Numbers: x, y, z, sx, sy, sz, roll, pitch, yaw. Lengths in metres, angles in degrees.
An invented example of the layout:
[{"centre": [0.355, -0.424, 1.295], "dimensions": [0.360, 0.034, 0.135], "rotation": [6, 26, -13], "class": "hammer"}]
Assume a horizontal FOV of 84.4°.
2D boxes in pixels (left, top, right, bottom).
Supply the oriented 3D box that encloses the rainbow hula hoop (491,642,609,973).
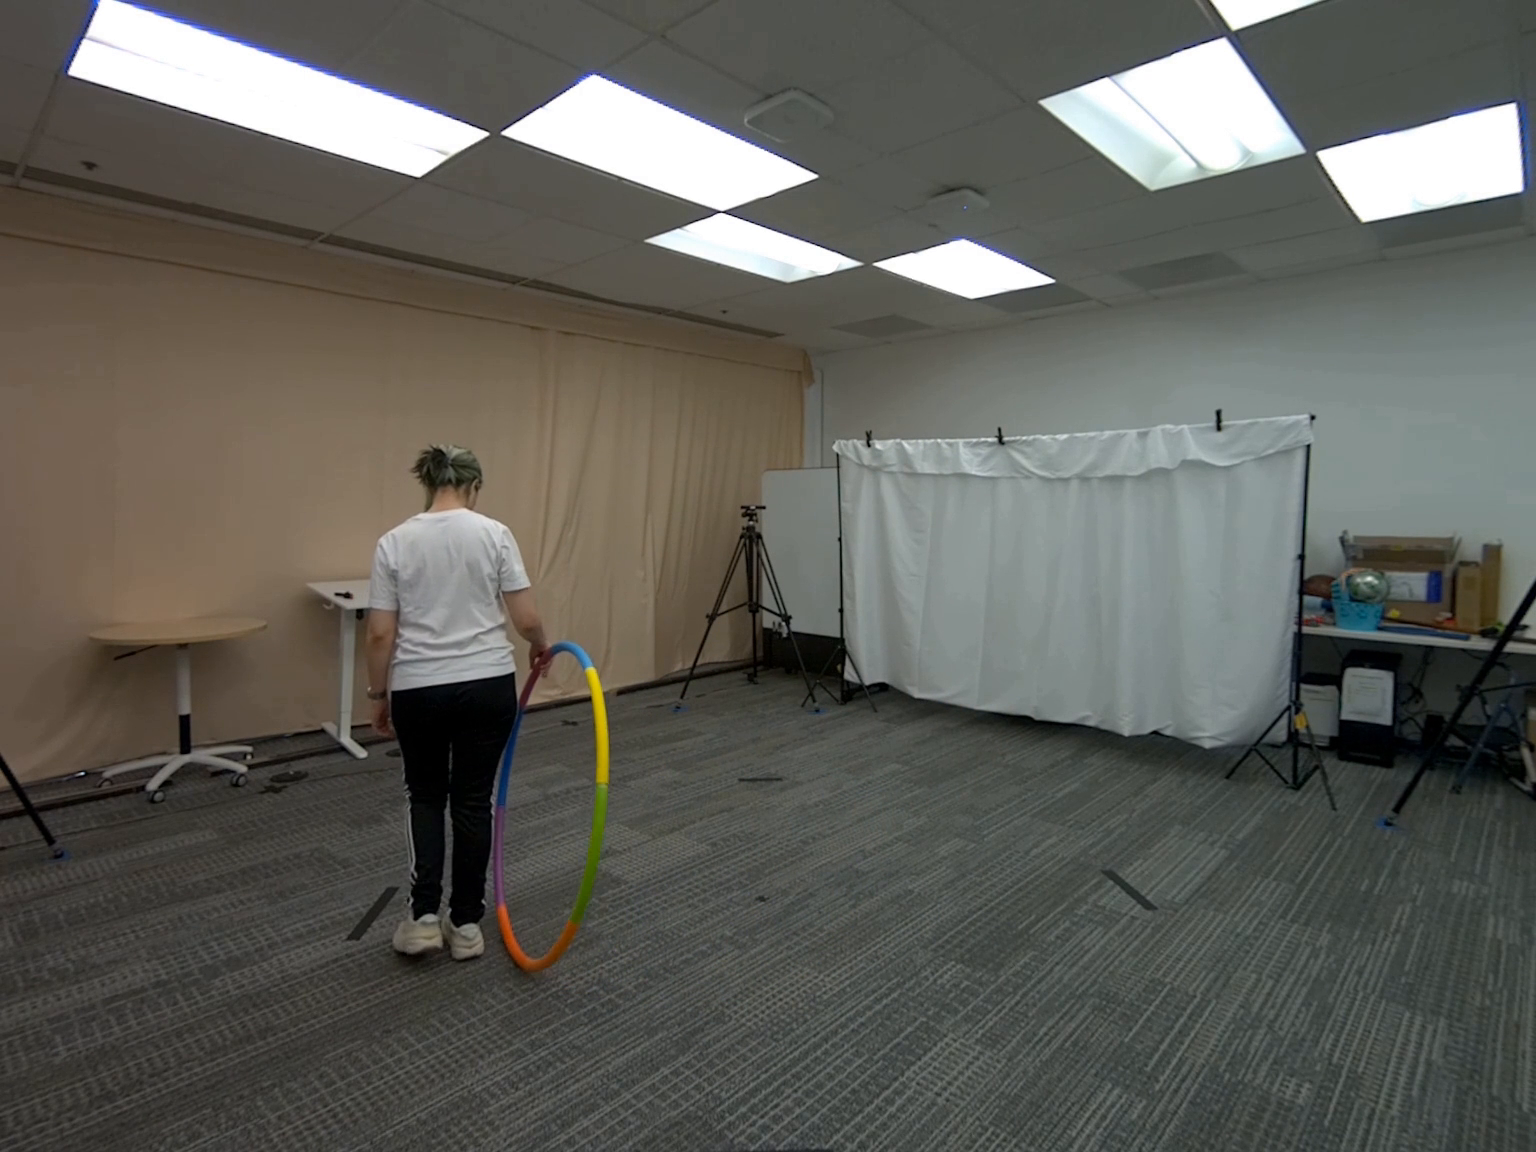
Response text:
[{"centre": [-0.703, 0.694, 2.649], "dimensions": [0.034, 0.980, 1.007], "rotation": [13, -3, -31], "class": "rainbow hula hoop"}]
